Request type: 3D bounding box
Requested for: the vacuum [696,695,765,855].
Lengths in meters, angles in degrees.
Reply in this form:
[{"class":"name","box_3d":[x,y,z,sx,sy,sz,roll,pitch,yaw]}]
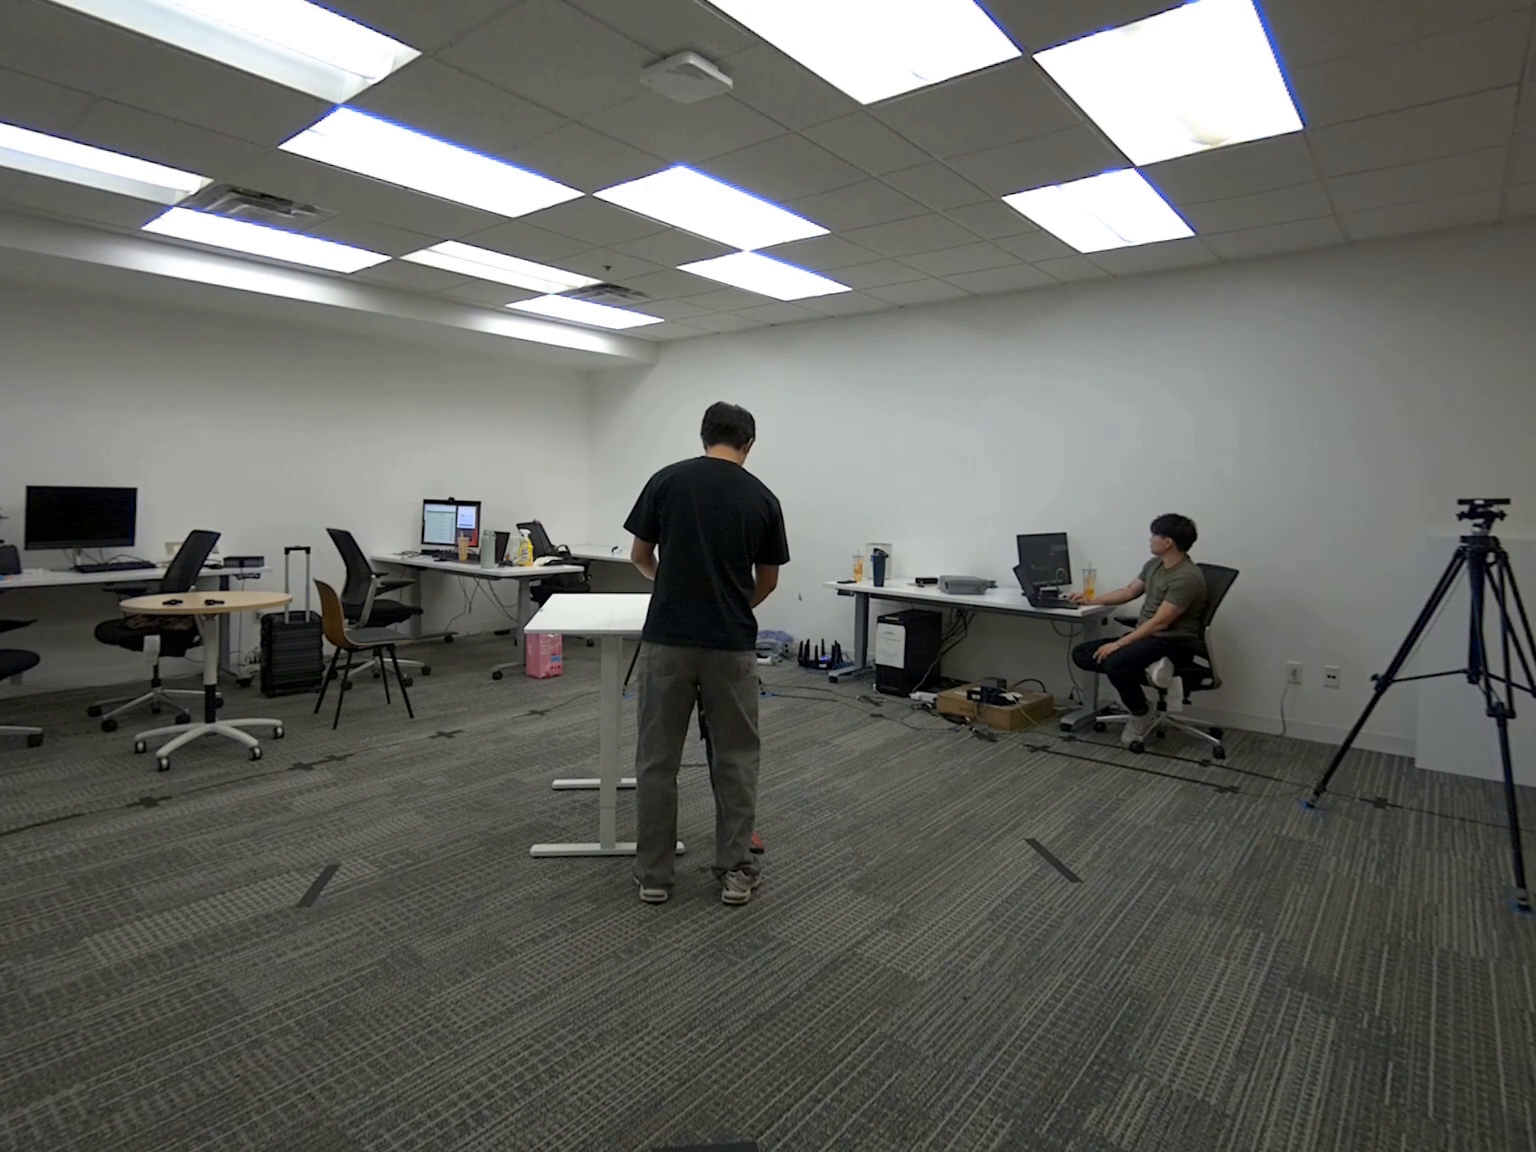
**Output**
[{"class":"vacuum","box_3d":[-0.233,0.534,3.328,0.143,1.045,0.256,-13,4,-10]}]
